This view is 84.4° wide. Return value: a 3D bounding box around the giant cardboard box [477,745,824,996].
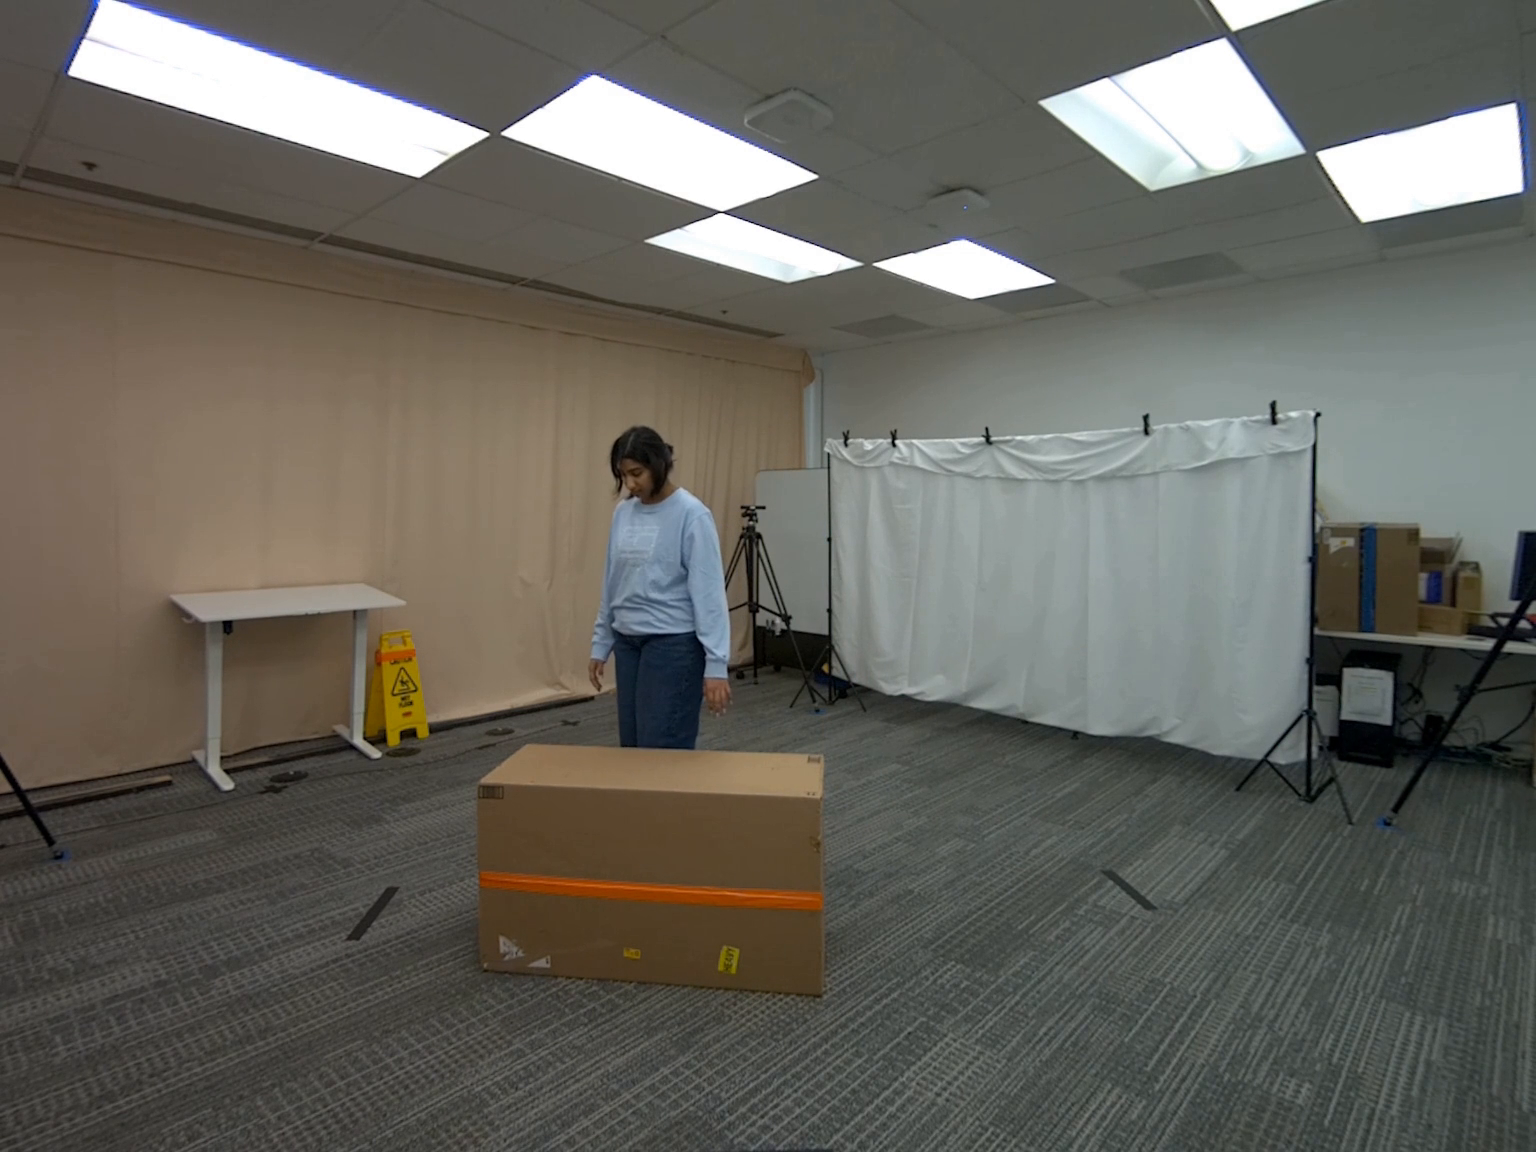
[{"bbox_3d":[-0.338,0.883,2.643,1.035,0.576,0.423,1,4,8],"label":"giant cardboard box"}]
